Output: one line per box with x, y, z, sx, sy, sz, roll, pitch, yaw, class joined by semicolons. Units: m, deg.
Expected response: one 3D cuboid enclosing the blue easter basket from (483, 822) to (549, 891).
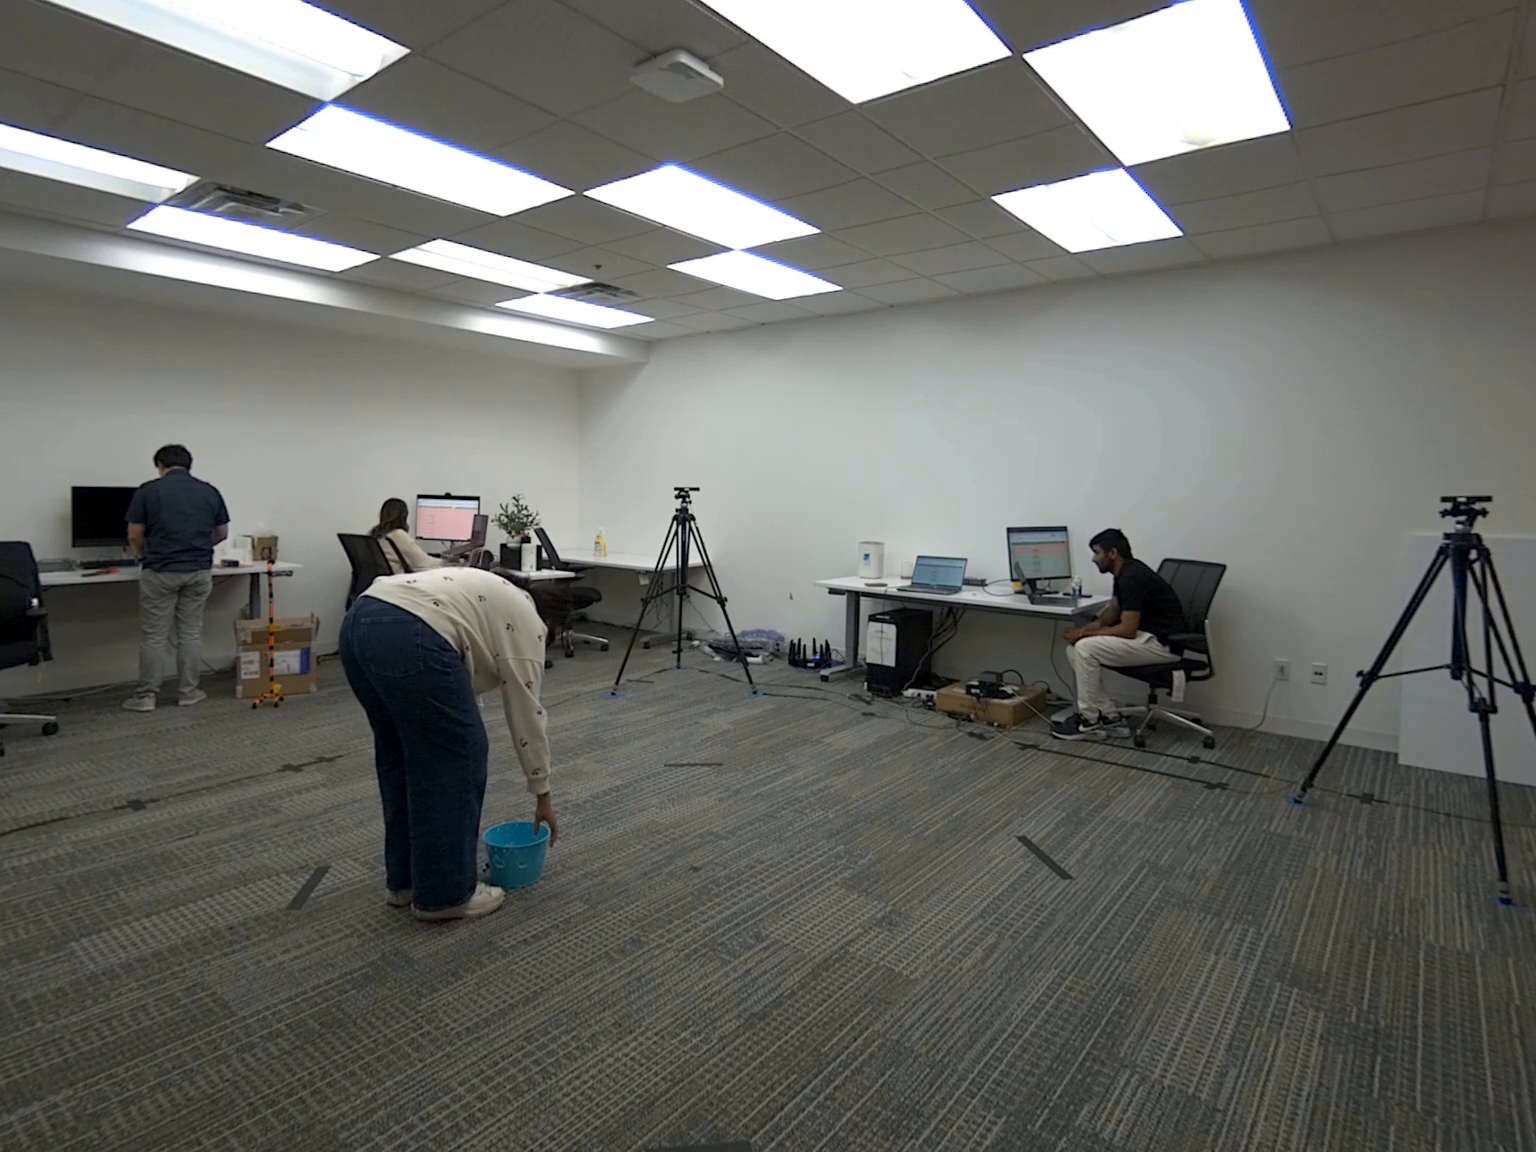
-0.903;0.984;3.021;0.243;0.155;0.245;1;6;-2;blue easter basket
